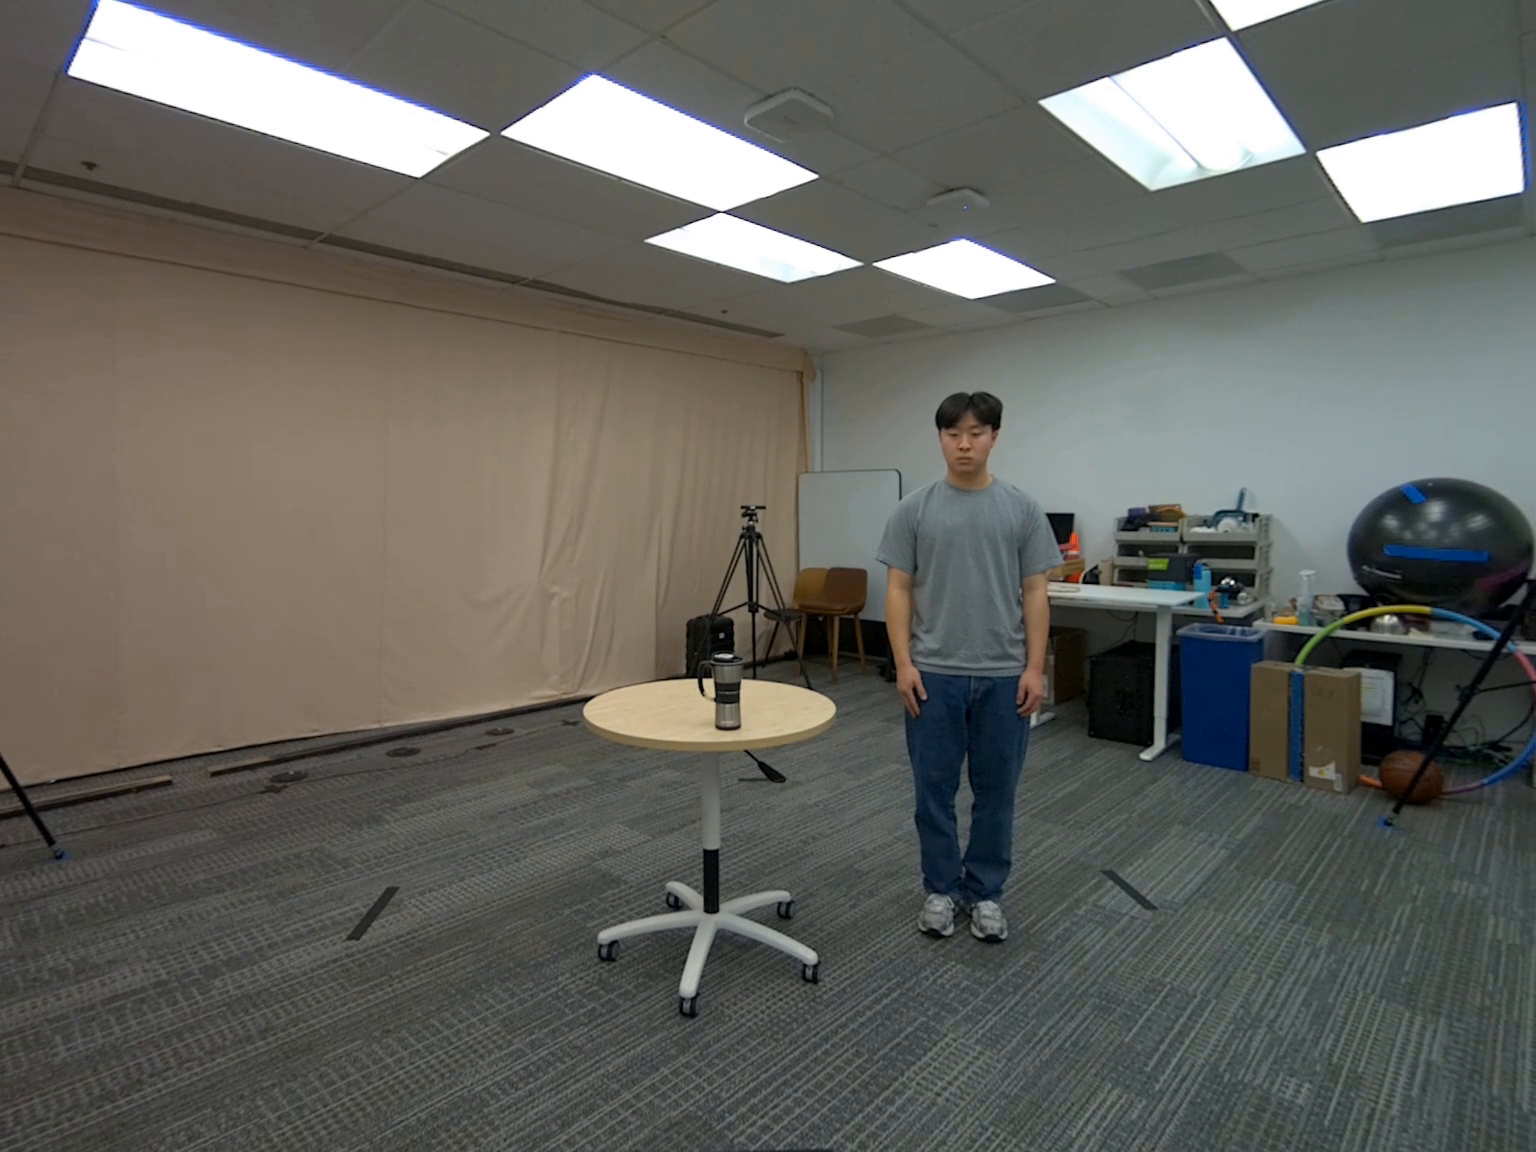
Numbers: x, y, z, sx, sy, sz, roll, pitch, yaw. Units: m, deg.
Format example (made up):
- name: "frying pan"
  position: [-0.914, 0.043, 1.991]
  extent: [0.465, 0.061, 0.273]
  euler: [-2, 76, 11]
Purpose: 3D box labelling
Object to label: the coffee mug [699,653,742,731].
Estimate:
- name: "coffee mug"
  position: [-0.122, 0.316, 2.333]
  extent: [0.125, 0.202, 0.086]
  euler: [5, 6, 24]
